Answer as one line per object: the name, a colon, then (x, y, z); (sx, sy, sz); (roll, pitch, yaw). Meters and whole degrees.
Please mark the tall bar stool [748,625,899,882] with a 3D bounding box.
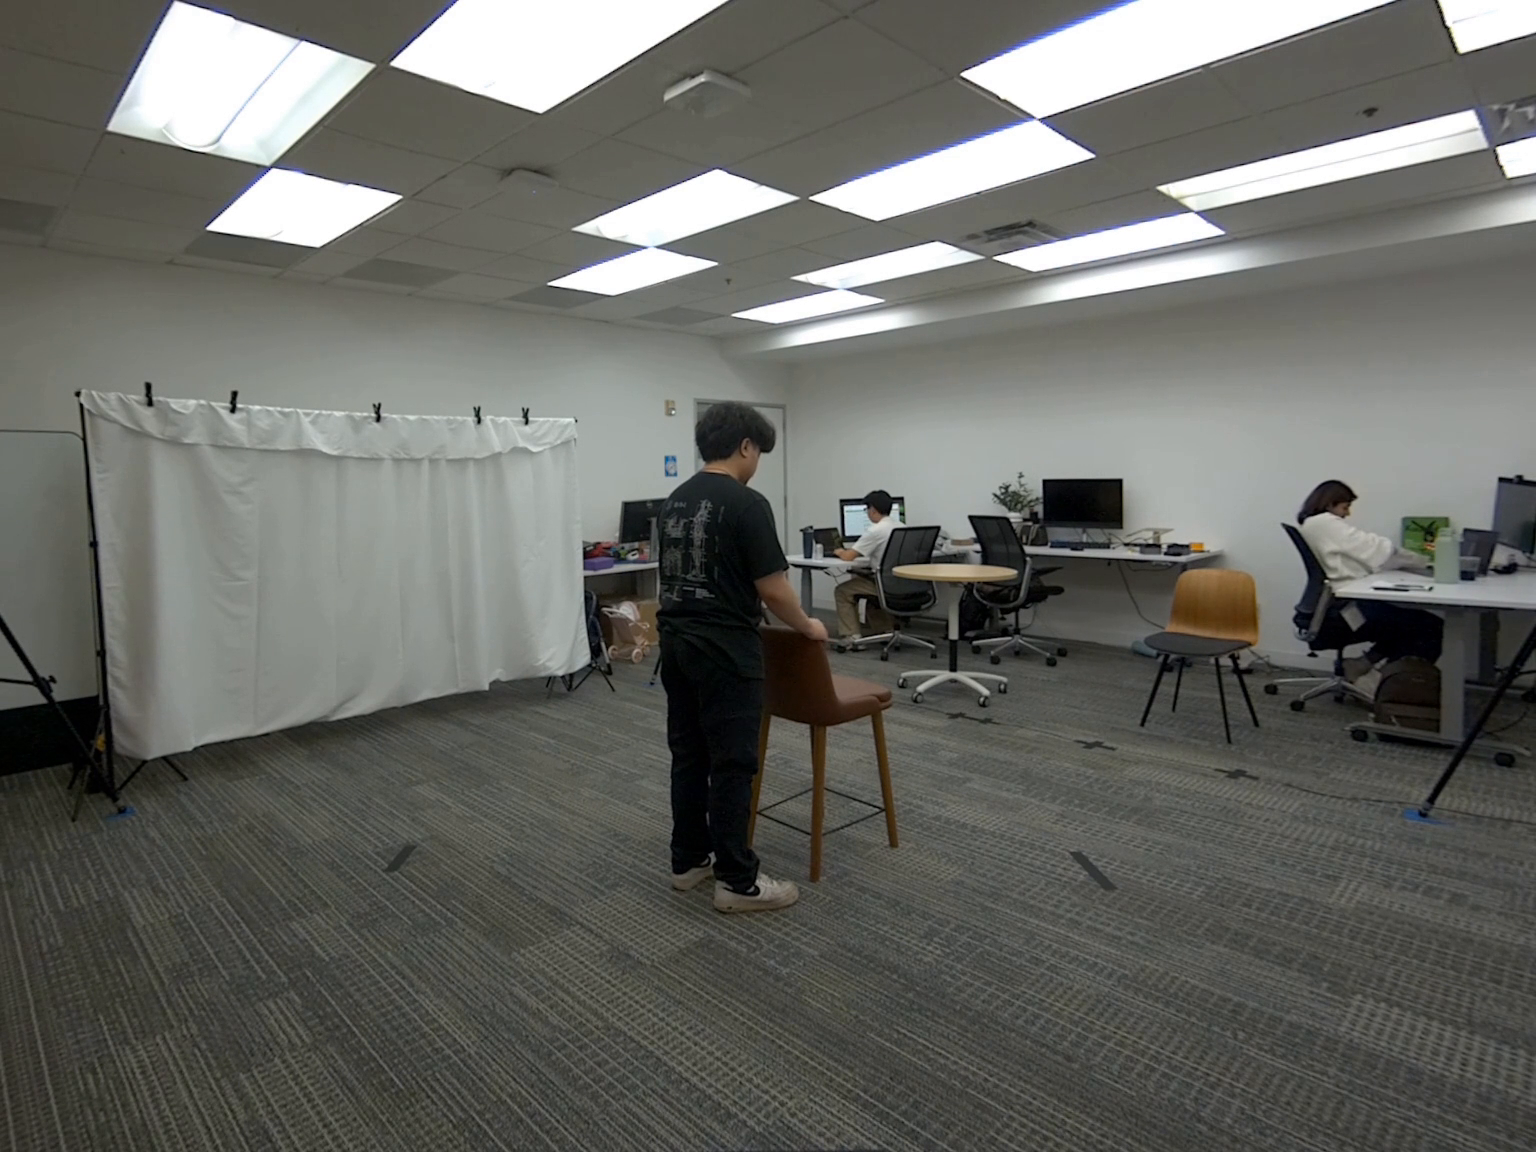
tall bar stool: (0.178, 0.590, 3.198); (0.456, 0.885, 0.470); (-7, 7, -42)
